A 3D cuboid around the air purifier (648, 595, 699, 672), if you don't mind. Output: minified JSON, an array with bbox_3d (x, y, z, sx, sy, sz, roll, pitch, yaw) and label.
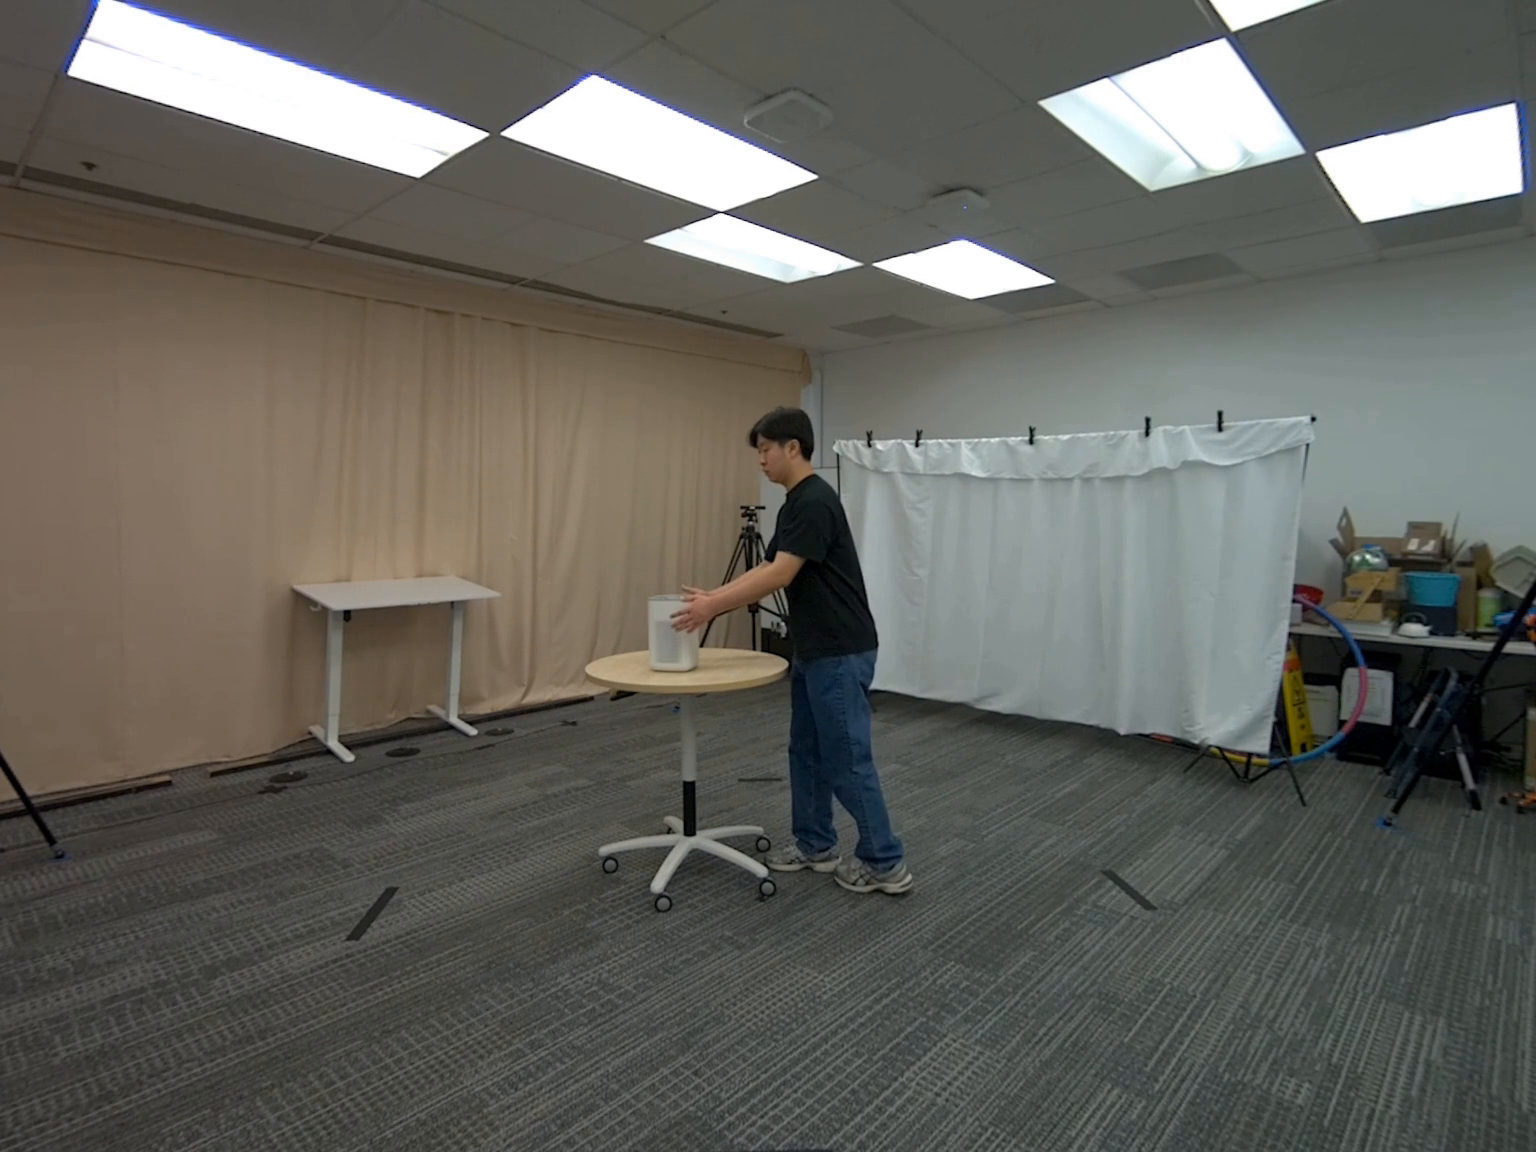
[{"bbox_3d":[-0.343,0.210,3.102,0.174,0.265,0.169,0,3,11],"label":"air purifier"}]
